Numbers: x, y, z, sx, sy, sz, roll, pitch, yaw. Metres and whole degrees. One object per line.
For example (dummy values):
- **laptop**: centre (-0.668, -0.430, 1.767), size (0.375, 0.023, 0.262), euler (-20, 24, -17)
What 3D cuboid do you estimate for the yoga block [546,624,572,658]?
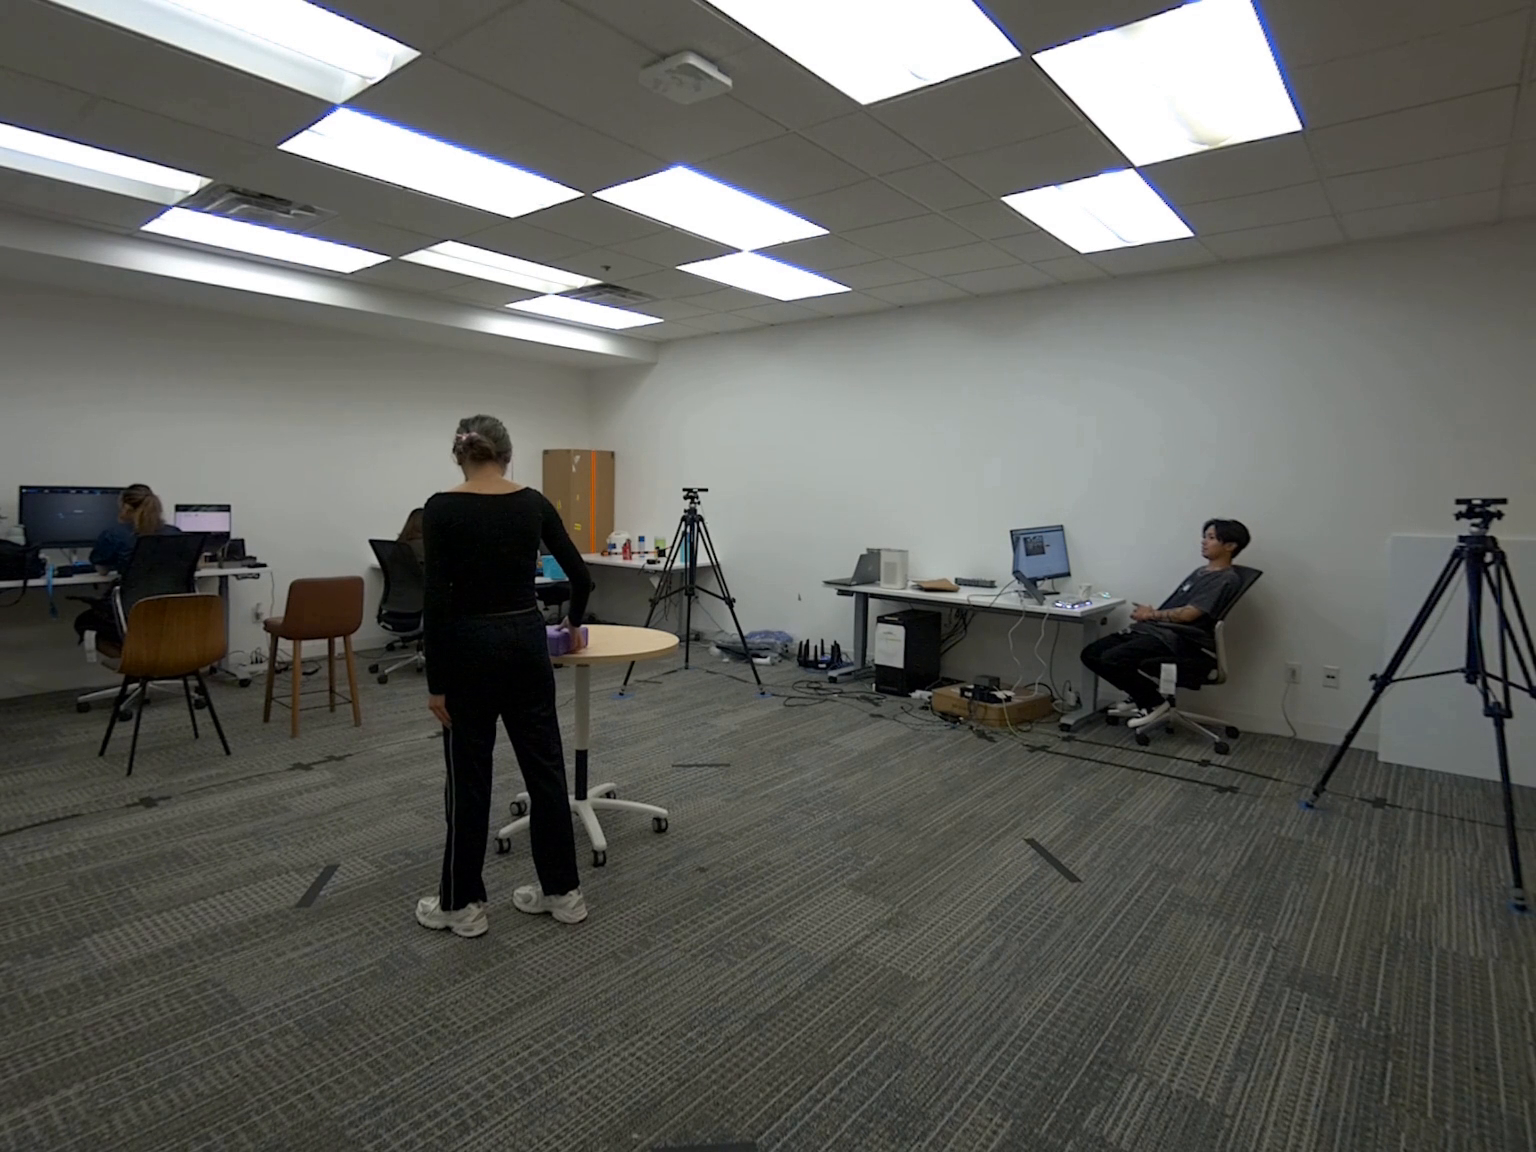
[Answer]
- **yoga block**: centre (-0.792, 0.234, 3.128), size (0.152, 0.076, 0.225), euler (1, 4, 17)
